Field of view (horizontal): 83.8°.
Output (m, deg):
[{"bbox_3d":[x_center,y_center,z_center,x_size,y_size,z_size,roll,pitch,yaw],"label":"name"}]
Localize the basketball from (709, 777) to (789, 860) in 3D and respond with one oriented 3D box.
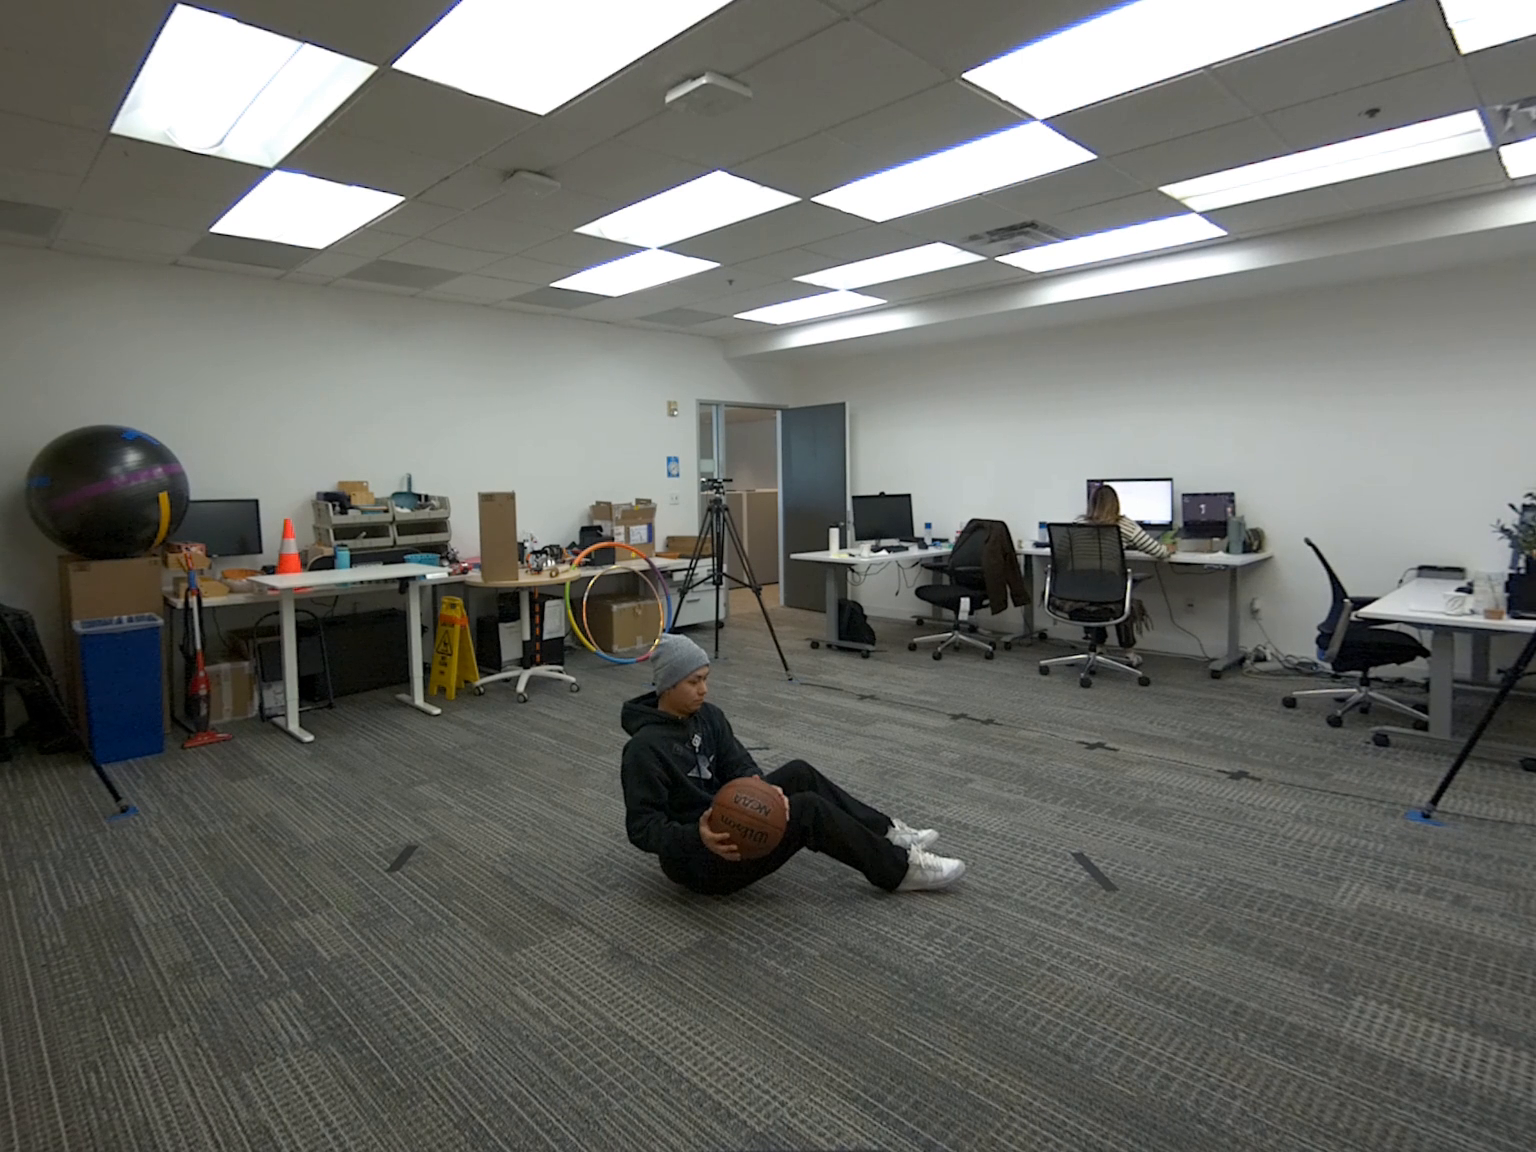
[{"bbox_3d":[-0.063,0.742,2.632,0.236,0.235,0.237,-1,5,-2],"label":"basketball"}]
